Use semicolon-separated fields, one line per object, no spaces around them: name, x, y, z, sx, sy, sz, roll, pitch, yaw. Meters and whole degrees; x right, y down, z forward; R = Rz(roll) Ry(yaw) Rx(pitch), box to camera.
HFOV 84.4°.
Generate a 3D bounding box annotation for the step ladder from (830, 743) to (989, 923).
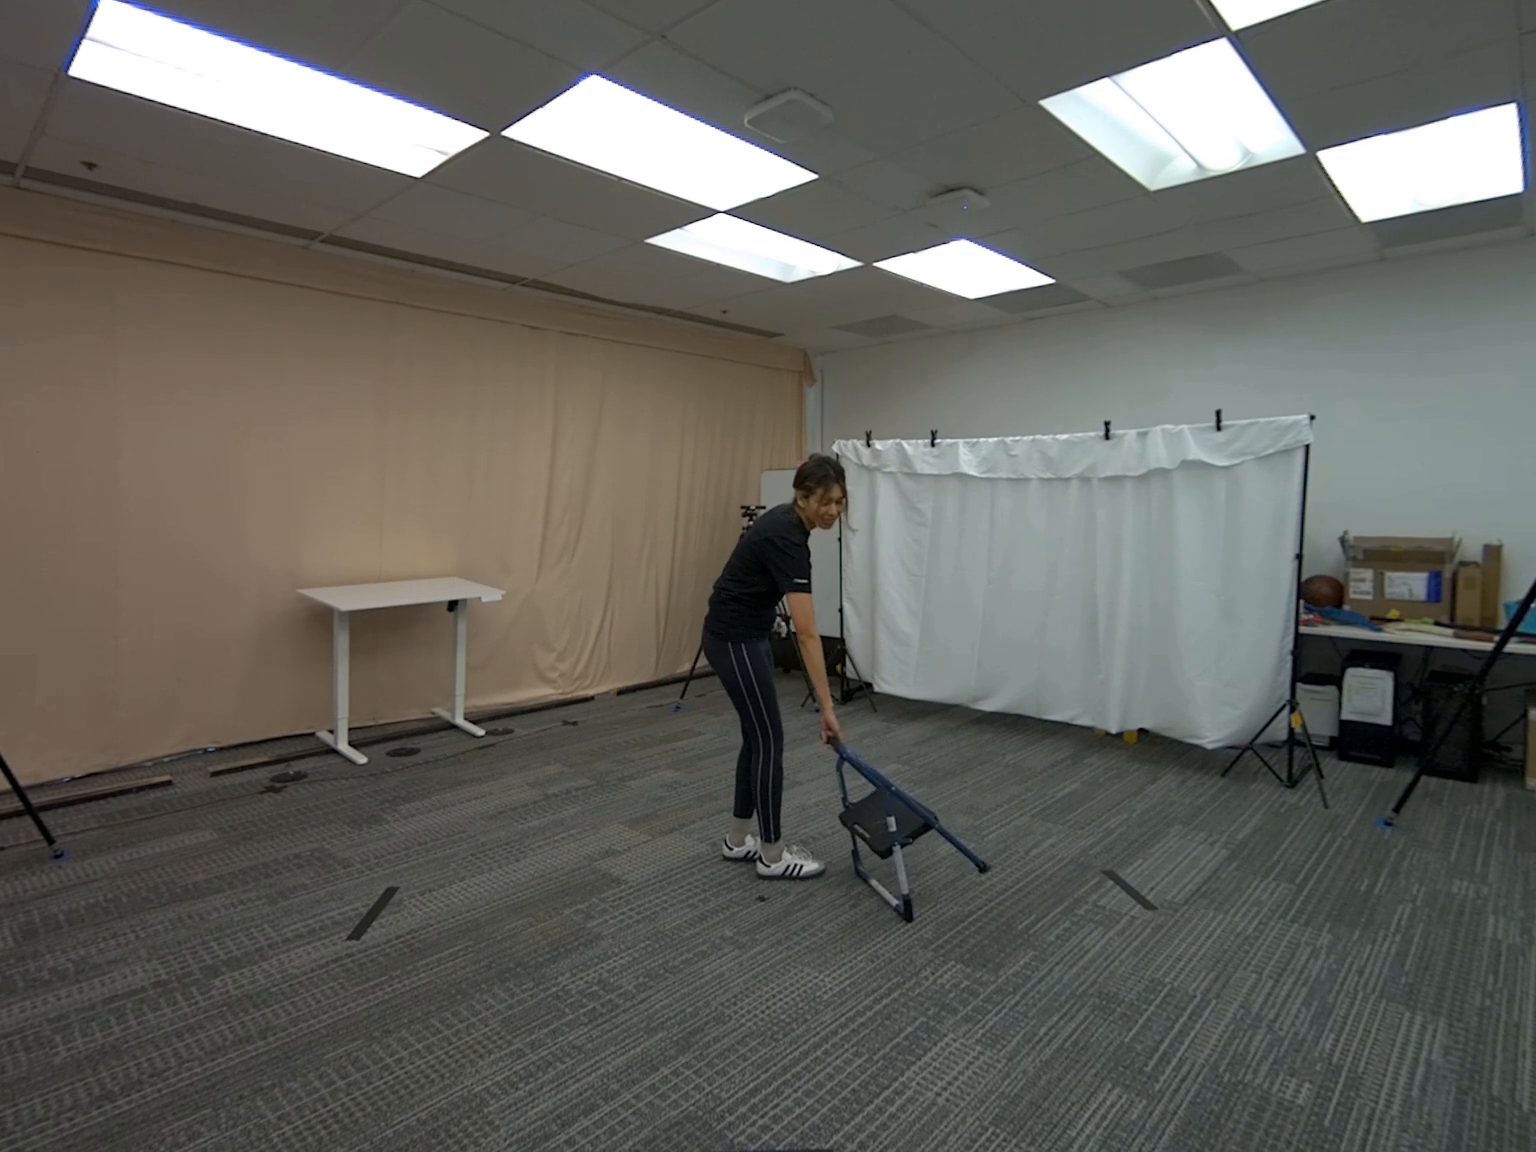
step ladder;0.419;0.802;2.985;0.346;0.600;0.439;-29;11;-15
